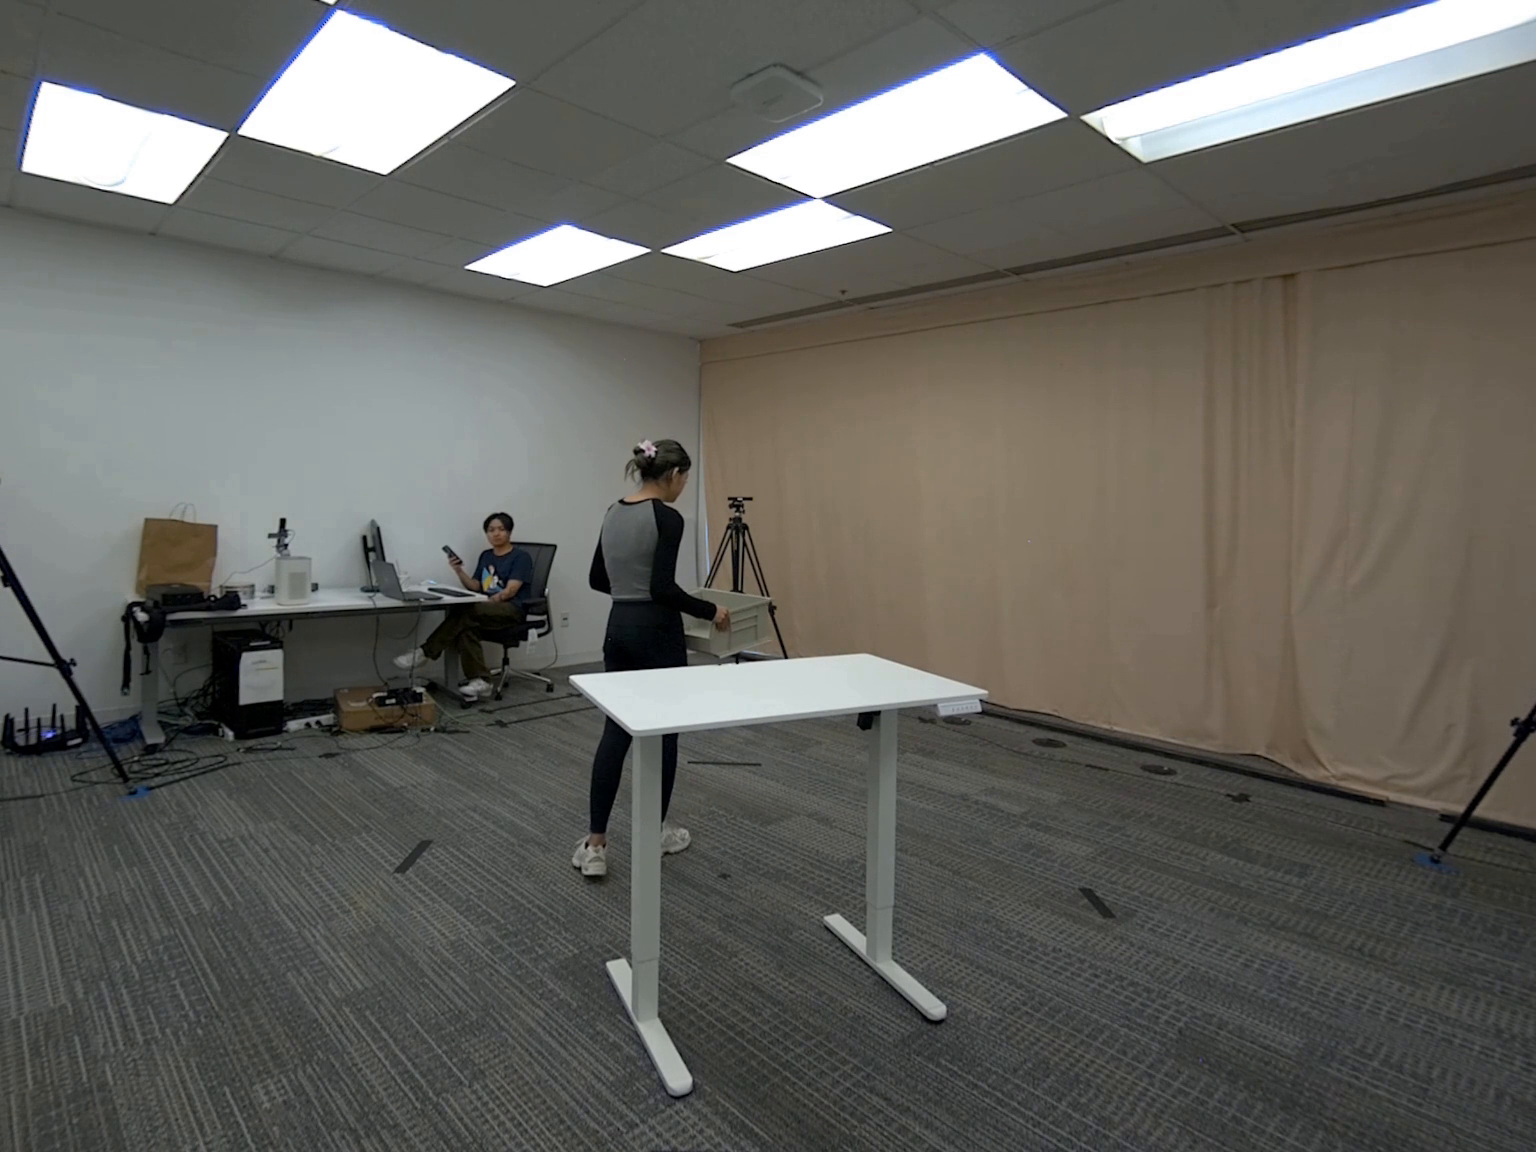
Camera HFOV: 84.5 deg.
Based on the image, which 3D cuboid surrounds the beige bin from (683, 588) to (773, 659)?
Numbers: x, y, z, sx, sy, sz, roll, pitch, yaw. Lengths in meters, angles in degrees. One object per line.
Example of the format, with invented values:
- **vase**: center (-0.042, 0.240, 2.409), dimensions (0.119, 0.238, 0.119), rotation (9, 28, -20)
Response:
- **beige bin**: center (-0.265, 0.181, 3.450), dimensions (0.433, 0.188, 0.369), rotation (6, 10, 41)
